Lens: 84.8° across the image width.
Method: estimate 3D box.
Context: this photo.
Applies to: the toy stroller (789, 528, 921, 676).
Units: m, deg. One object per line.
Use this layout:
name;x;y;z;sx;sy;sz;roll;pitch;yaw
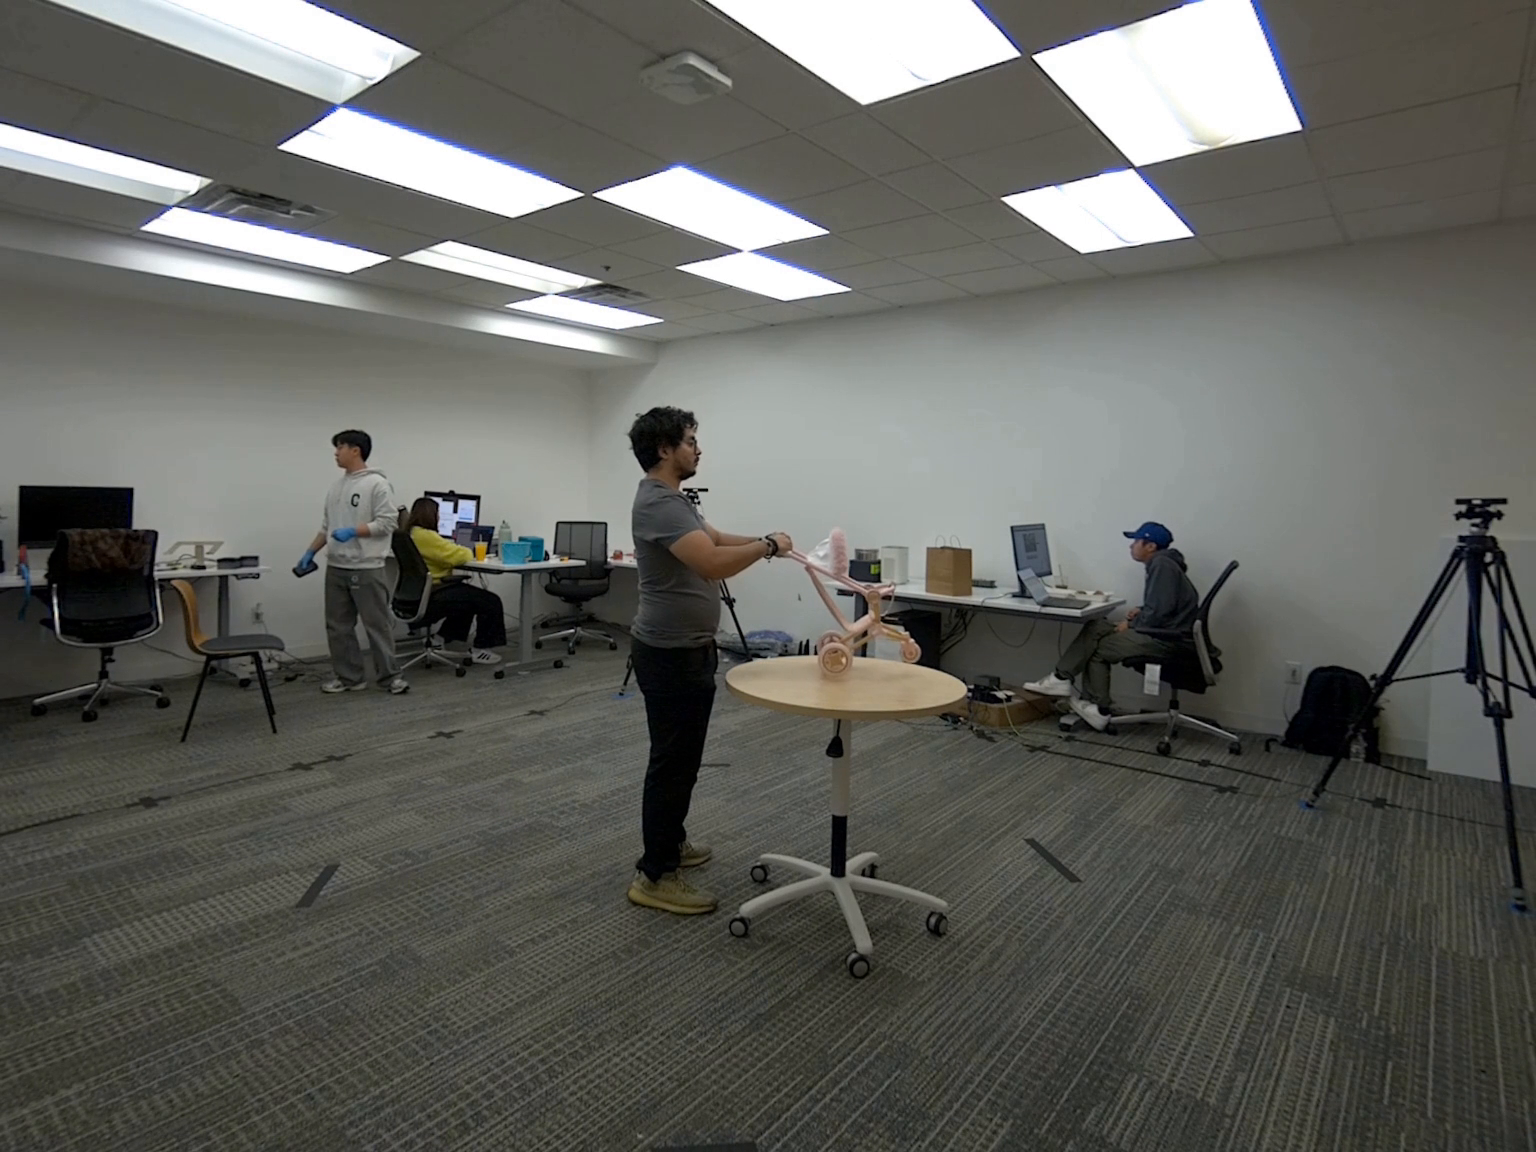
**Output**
toy stroller;0.263;0.080;2.834;0.343;0.535;0.280;-20;0;8
